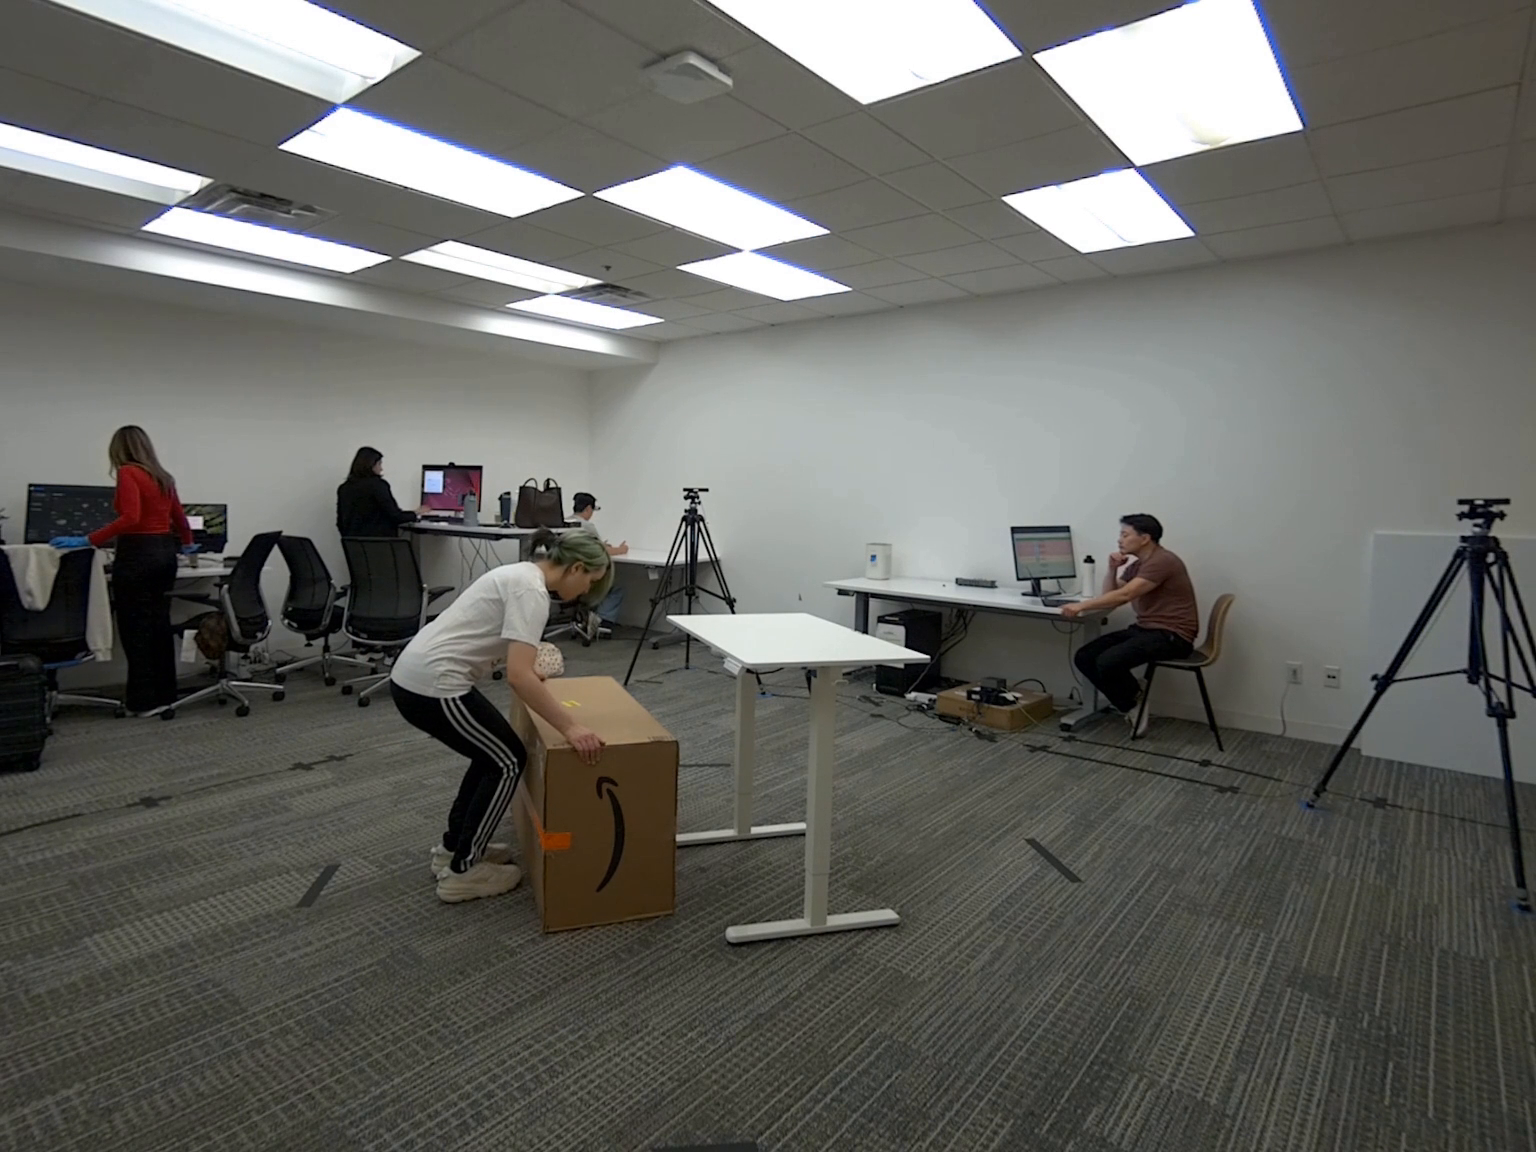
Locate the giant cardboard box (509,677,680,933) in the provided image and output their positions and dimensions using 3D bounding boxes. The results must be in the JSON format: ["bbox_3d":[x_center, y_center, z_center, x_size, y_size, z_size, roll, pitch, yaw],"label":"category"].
[{"bbox_3d":[-0.700,0.764,3.167,0.437,0.582,1.052,0,4,-22],"label":"giant cardboard box"}]
